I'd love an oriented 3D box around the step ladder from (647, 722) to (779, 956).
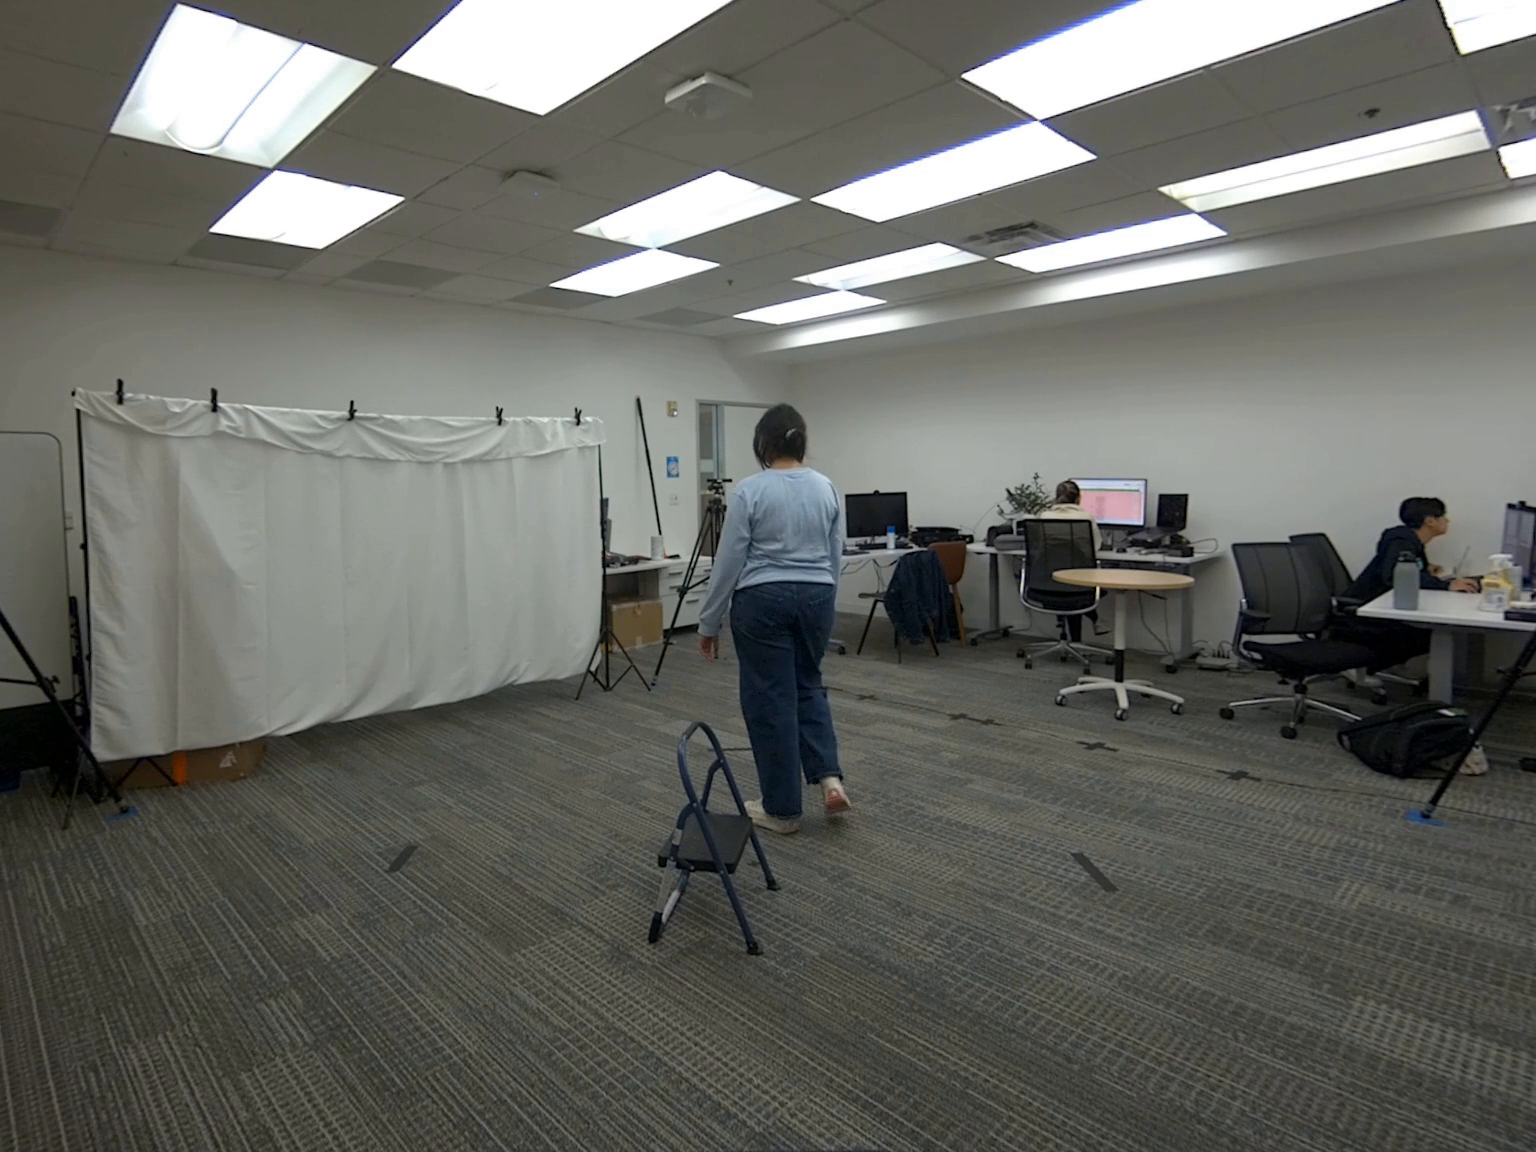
[{"bbox_3d":[-0.169,0.788,2.729,0.353,0.604,0.428,0,5,10],"label":"step ladder"}]
